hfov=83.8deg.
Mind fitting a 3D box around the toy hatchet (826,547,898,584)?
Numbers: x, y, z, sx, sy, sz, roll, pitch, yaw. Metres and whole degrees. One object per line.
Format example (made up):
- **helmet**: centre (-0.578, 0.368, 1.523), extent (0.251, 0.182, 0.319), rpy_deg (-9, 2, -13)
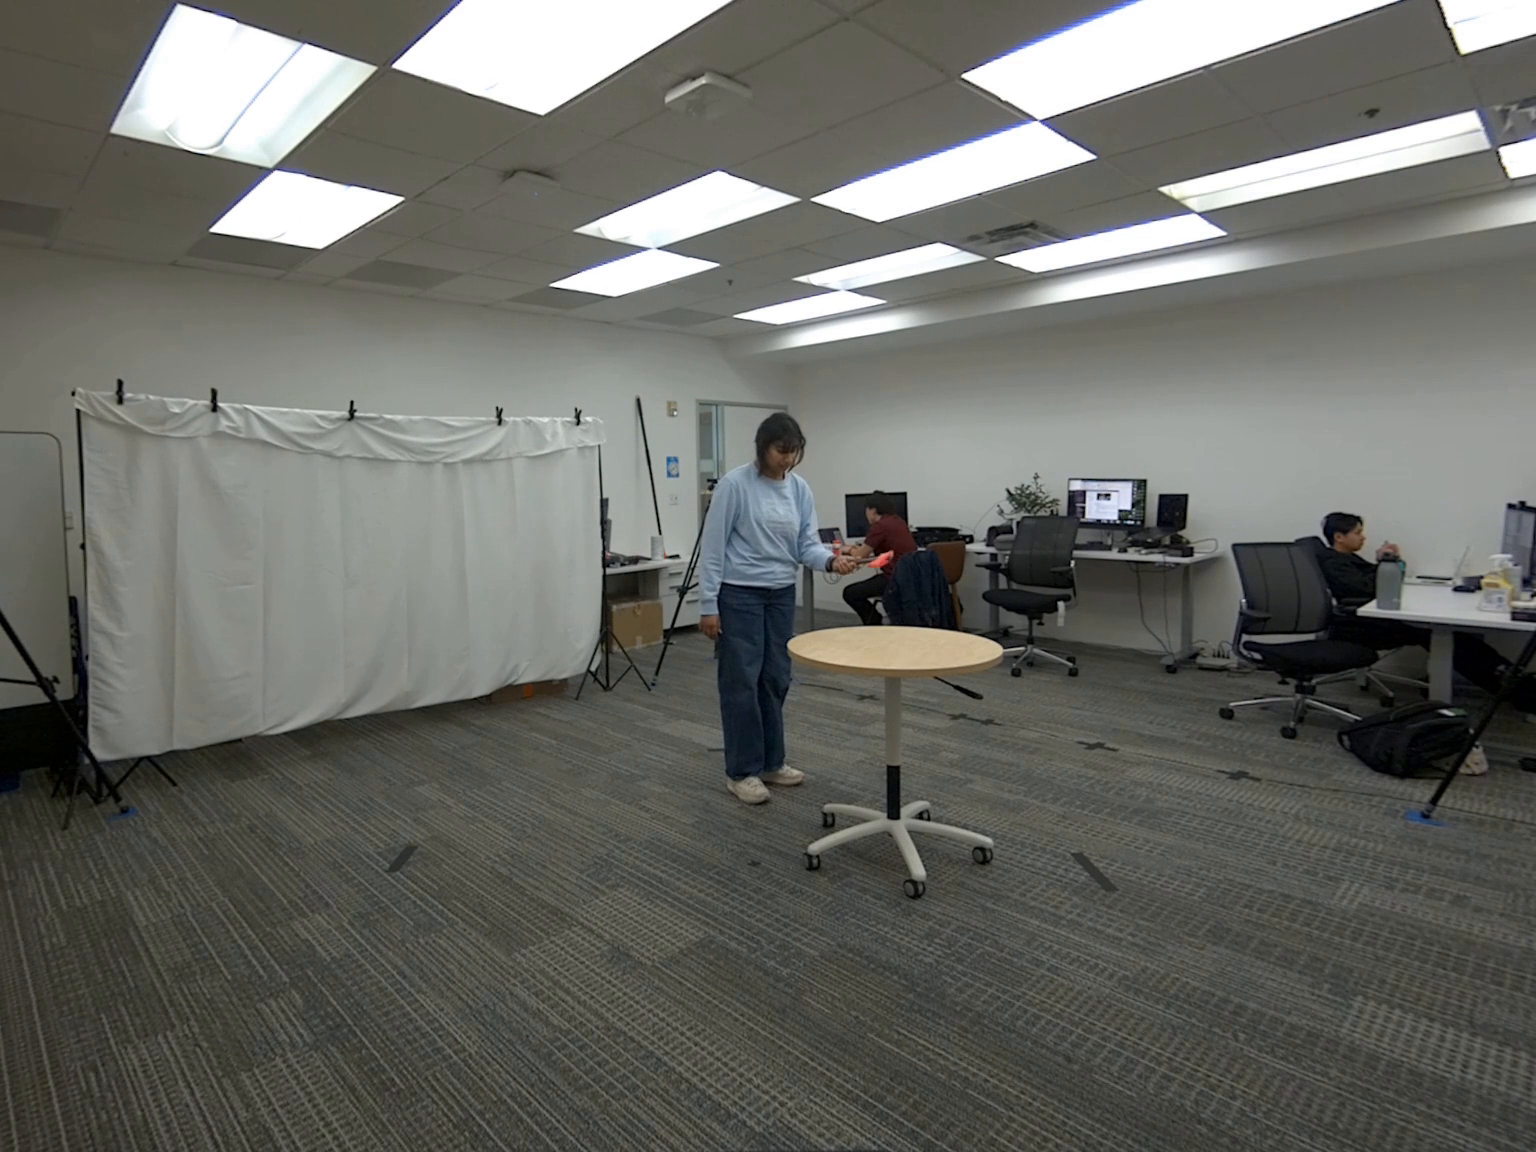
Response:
- **toy hatchet**: centre (0.377, -0.044, 3.458), extent (0.274, 0.029, 0.132), rpy_deg (-14, 22, 23)
